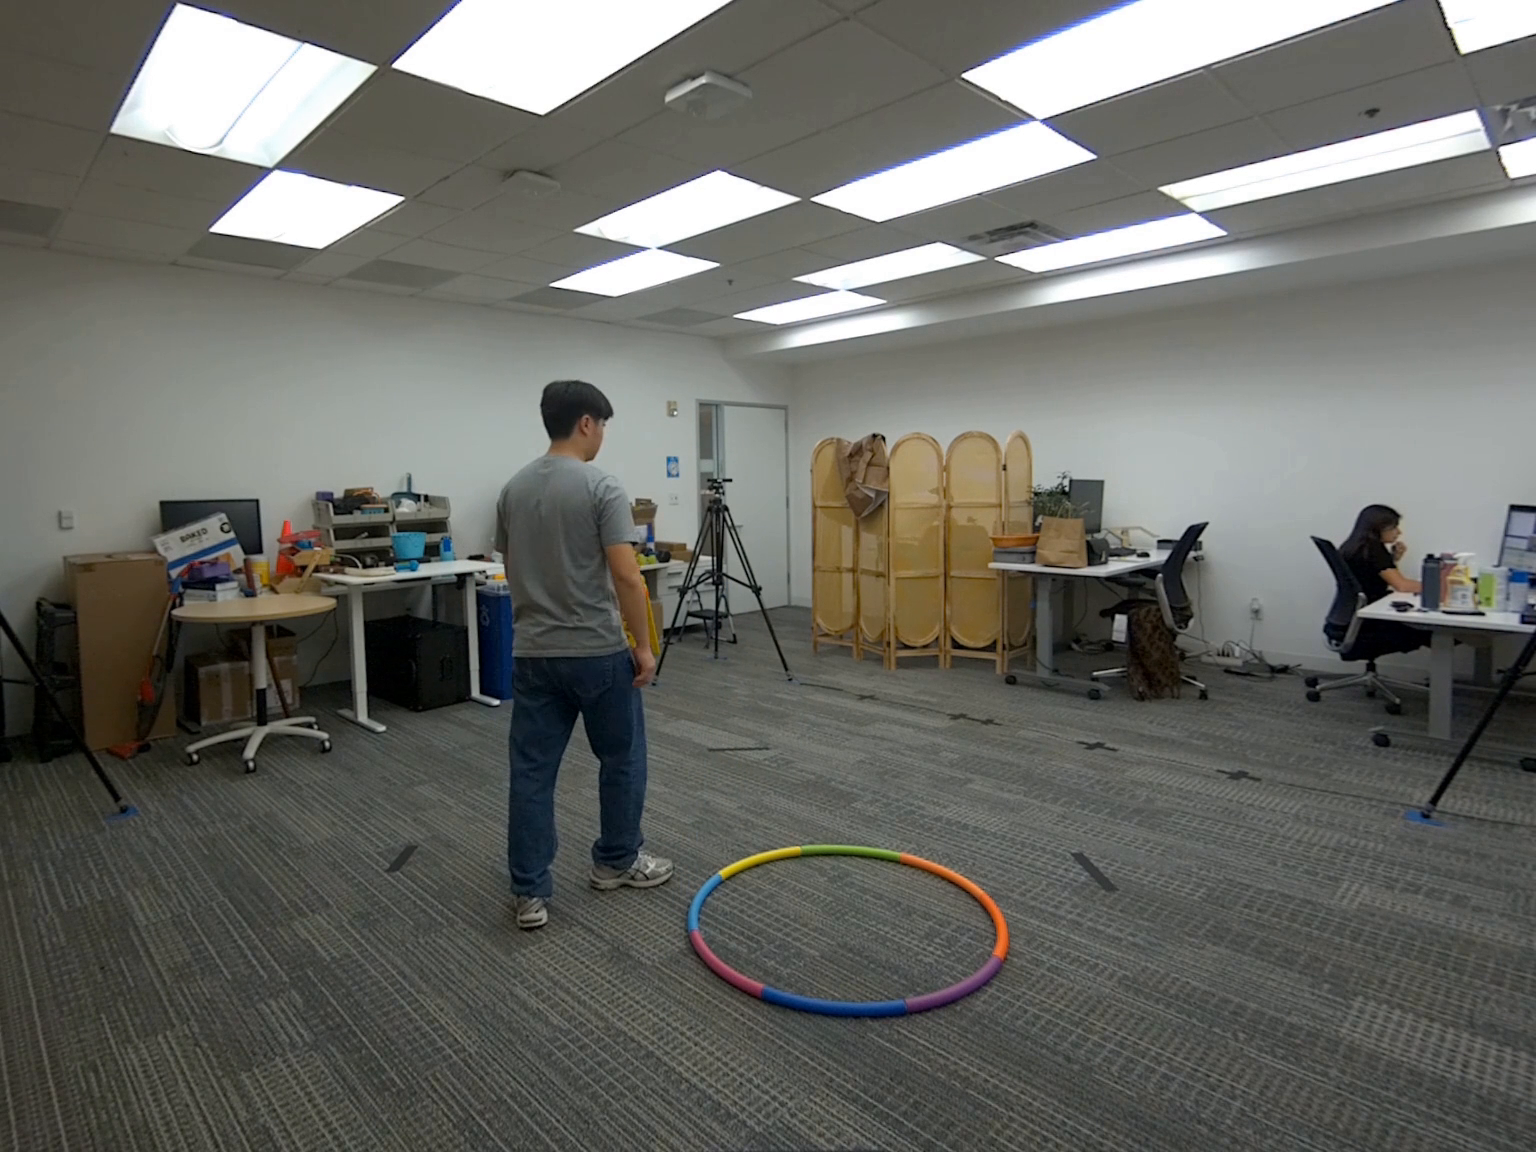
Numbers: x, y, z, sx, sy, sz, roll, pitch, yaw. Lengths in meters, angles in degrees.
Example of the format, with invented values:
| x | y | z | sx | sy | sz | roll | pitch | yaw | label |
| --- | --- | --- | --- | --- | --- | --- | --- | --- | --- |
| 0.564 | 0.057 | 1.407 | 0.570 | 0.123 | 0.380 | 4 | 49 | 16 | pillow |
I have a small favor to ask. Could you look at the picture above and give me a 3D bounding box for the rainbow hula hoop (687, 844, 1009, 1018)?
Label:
| x | y | z | sx | sy | sz | roll | pitch | yaw | label |
| --- | --- | --- | --- | --- | --- | --- | --- | --- | --- |
| 0.231 | 1.059 | 2.697 | 0.978 | 0.035 | 0.984 | -2 | 7 | -2 | rainbow hula hoop |
